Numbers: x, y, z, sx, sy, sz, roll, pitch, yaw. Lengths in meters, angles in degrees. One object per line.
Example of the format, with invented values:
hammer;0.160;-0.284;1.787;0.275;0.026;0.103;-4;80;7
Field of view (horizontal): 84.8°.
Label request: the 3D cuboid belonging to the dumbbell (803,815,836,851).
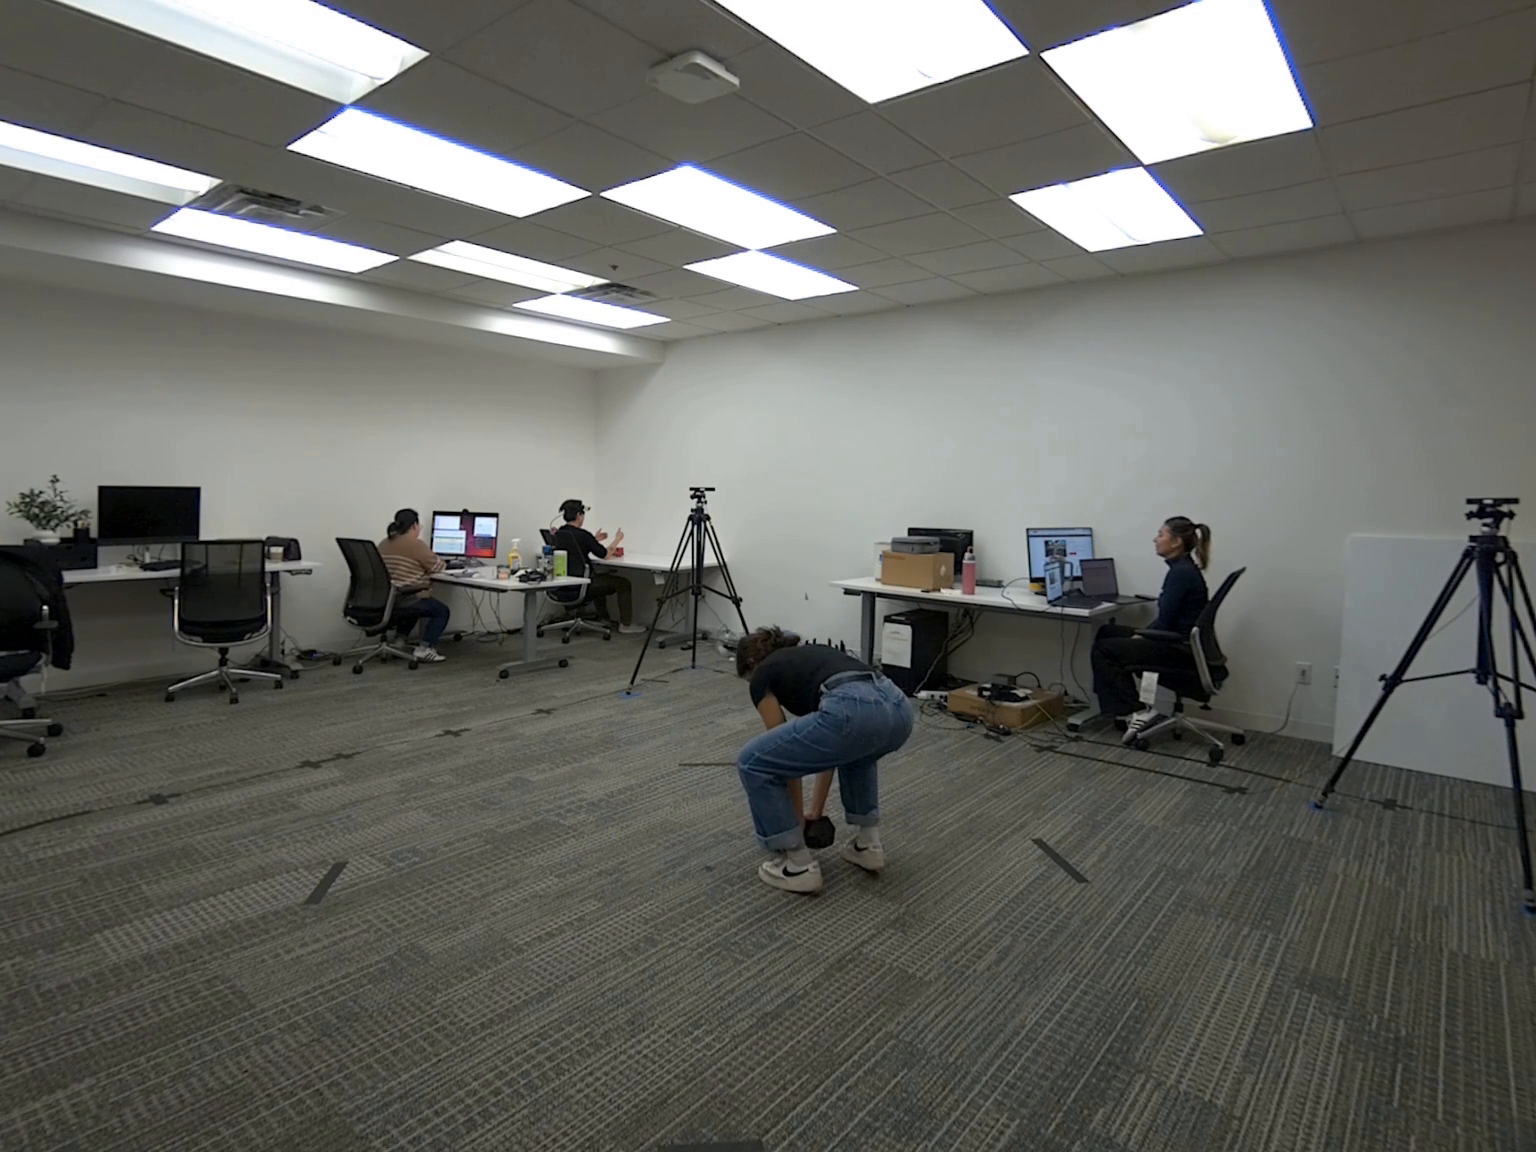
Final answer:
dumbbell;0.113;0.963;3.220;0.300;0.125;0.104;-15;-41;44
